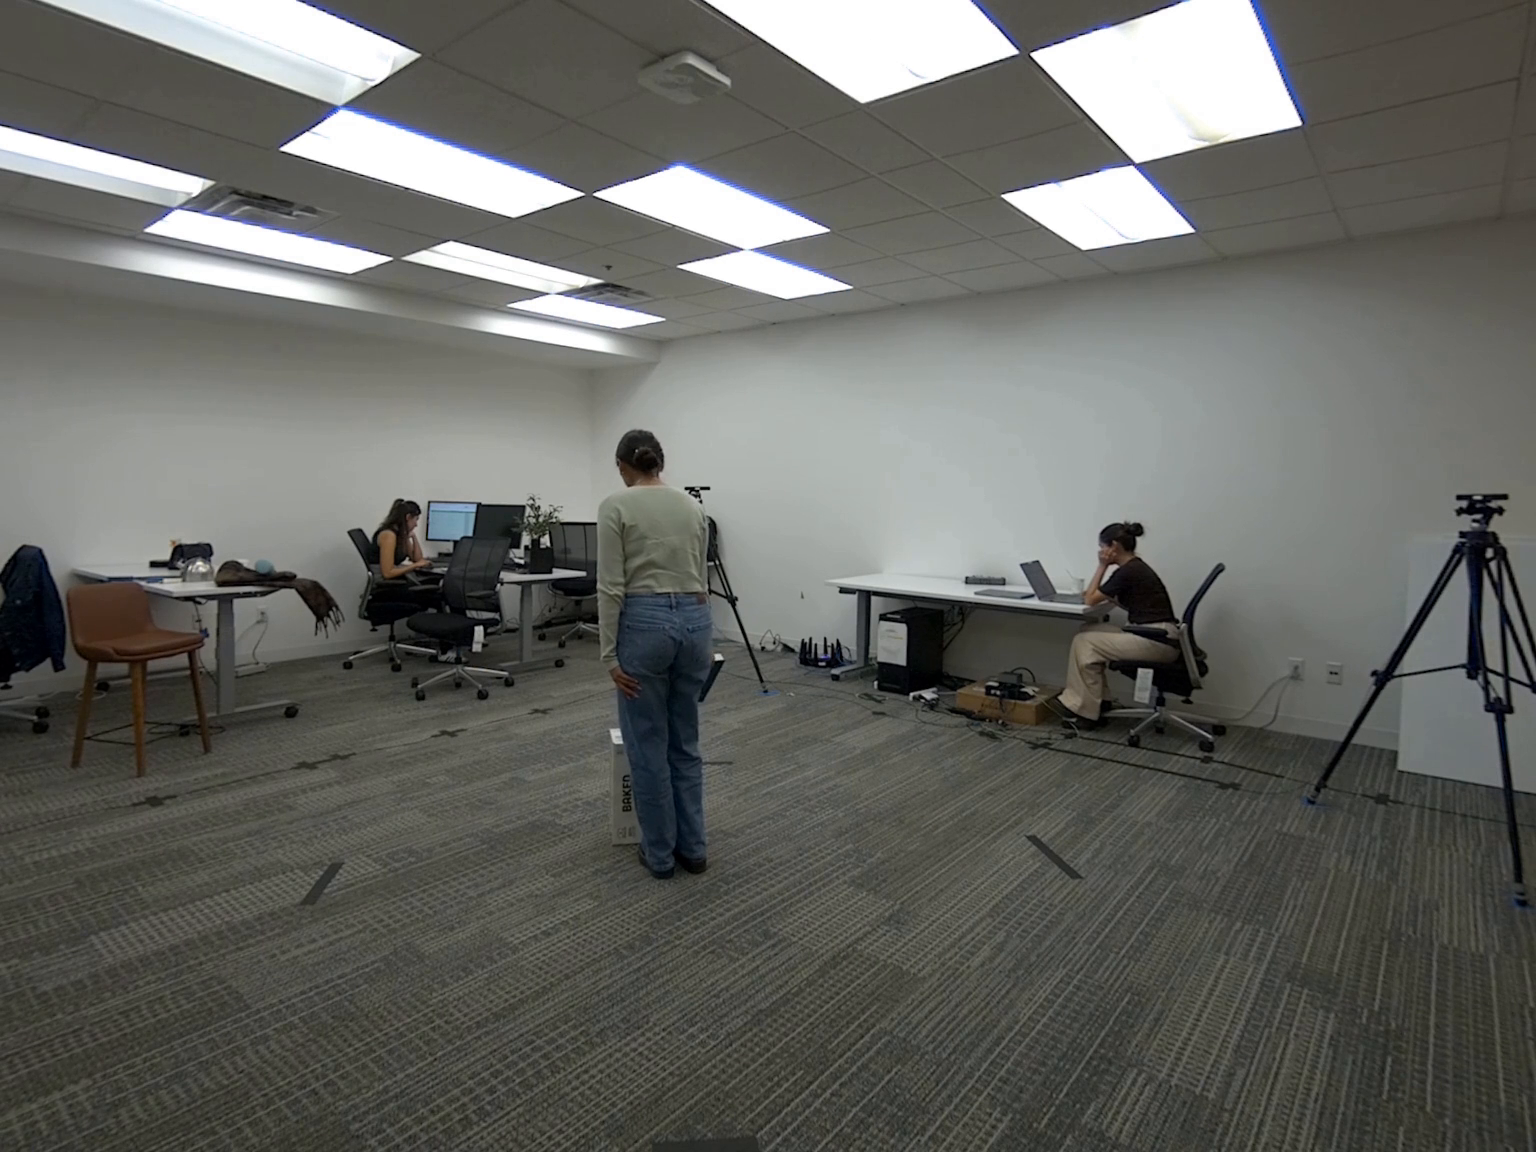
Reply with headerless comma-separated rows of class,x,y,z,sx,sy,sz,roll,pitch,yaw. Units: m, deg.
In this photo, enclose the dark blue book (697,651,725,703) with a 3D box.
dark blue book,-0.303,0.407,3.397,0.158,0.242,0.047,0,40,-38
